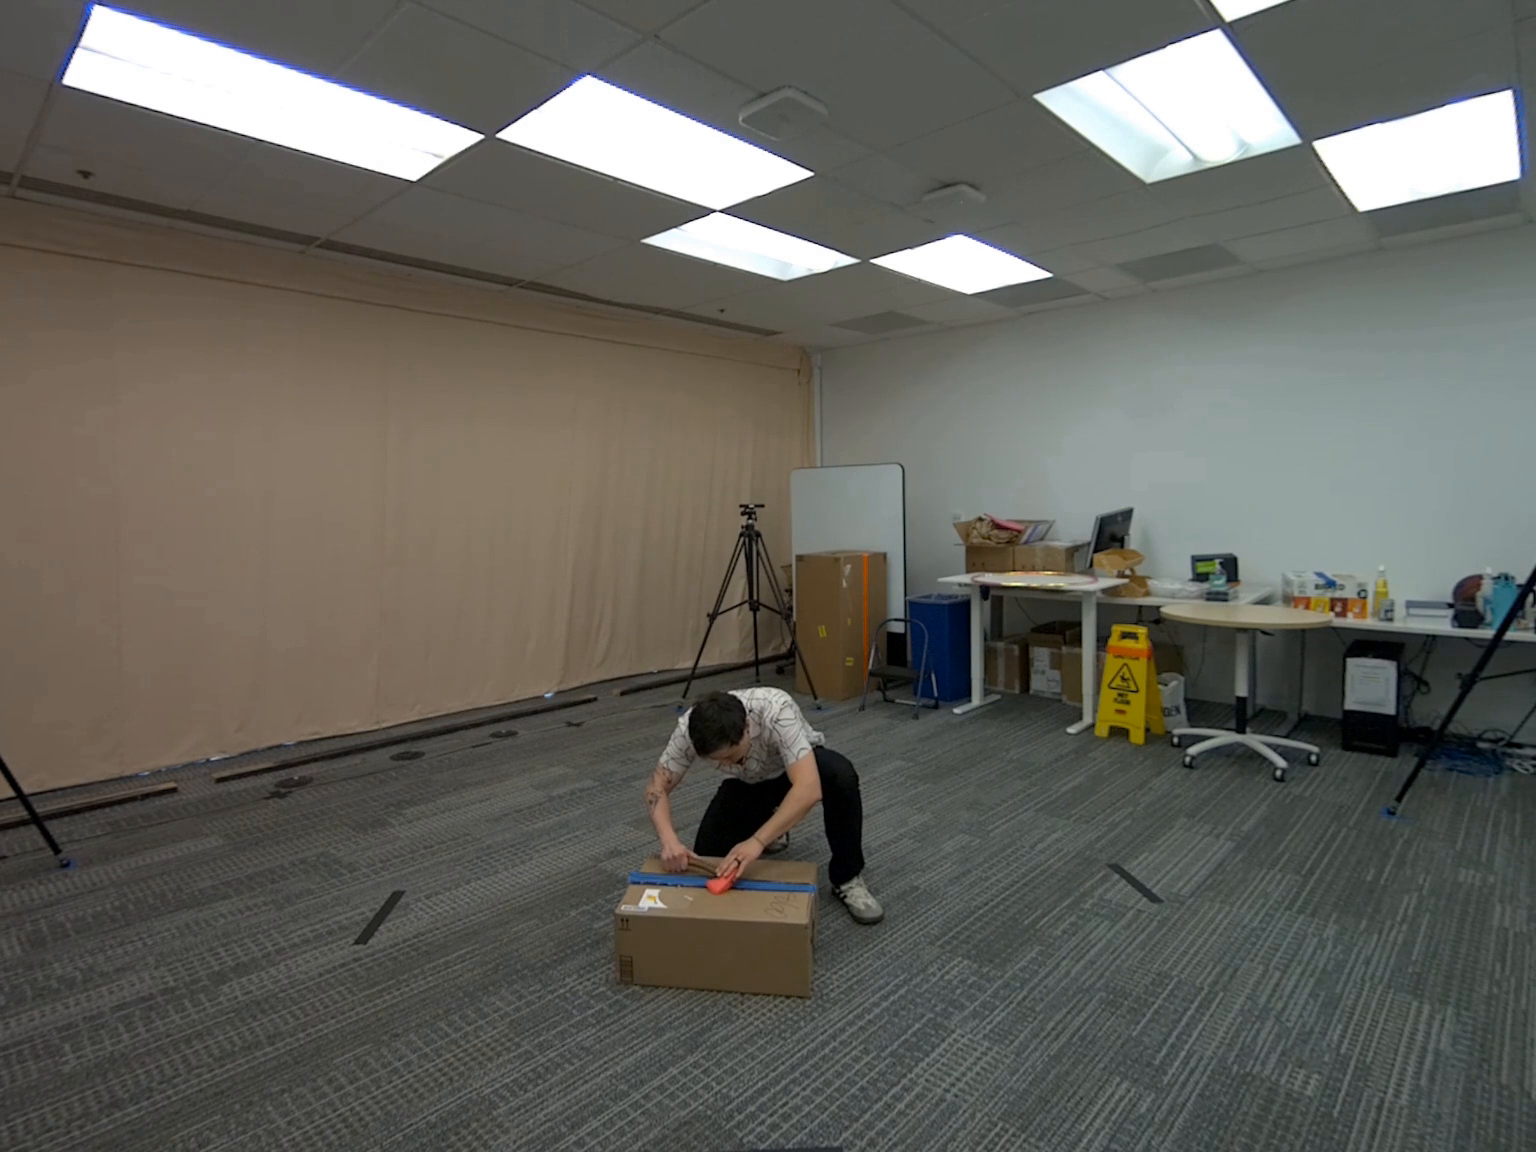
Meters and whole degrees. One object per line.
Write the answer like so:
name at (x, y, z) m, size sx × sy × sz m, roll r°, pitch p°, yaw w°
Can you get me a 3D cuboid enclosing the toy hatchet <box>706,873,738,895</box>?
toy hatchet at (-0.220, 0.940, 2.631) m, size 0.276 × 0.029 × 0.131 m, roll -10°, pitch 27°, yaw 27°
